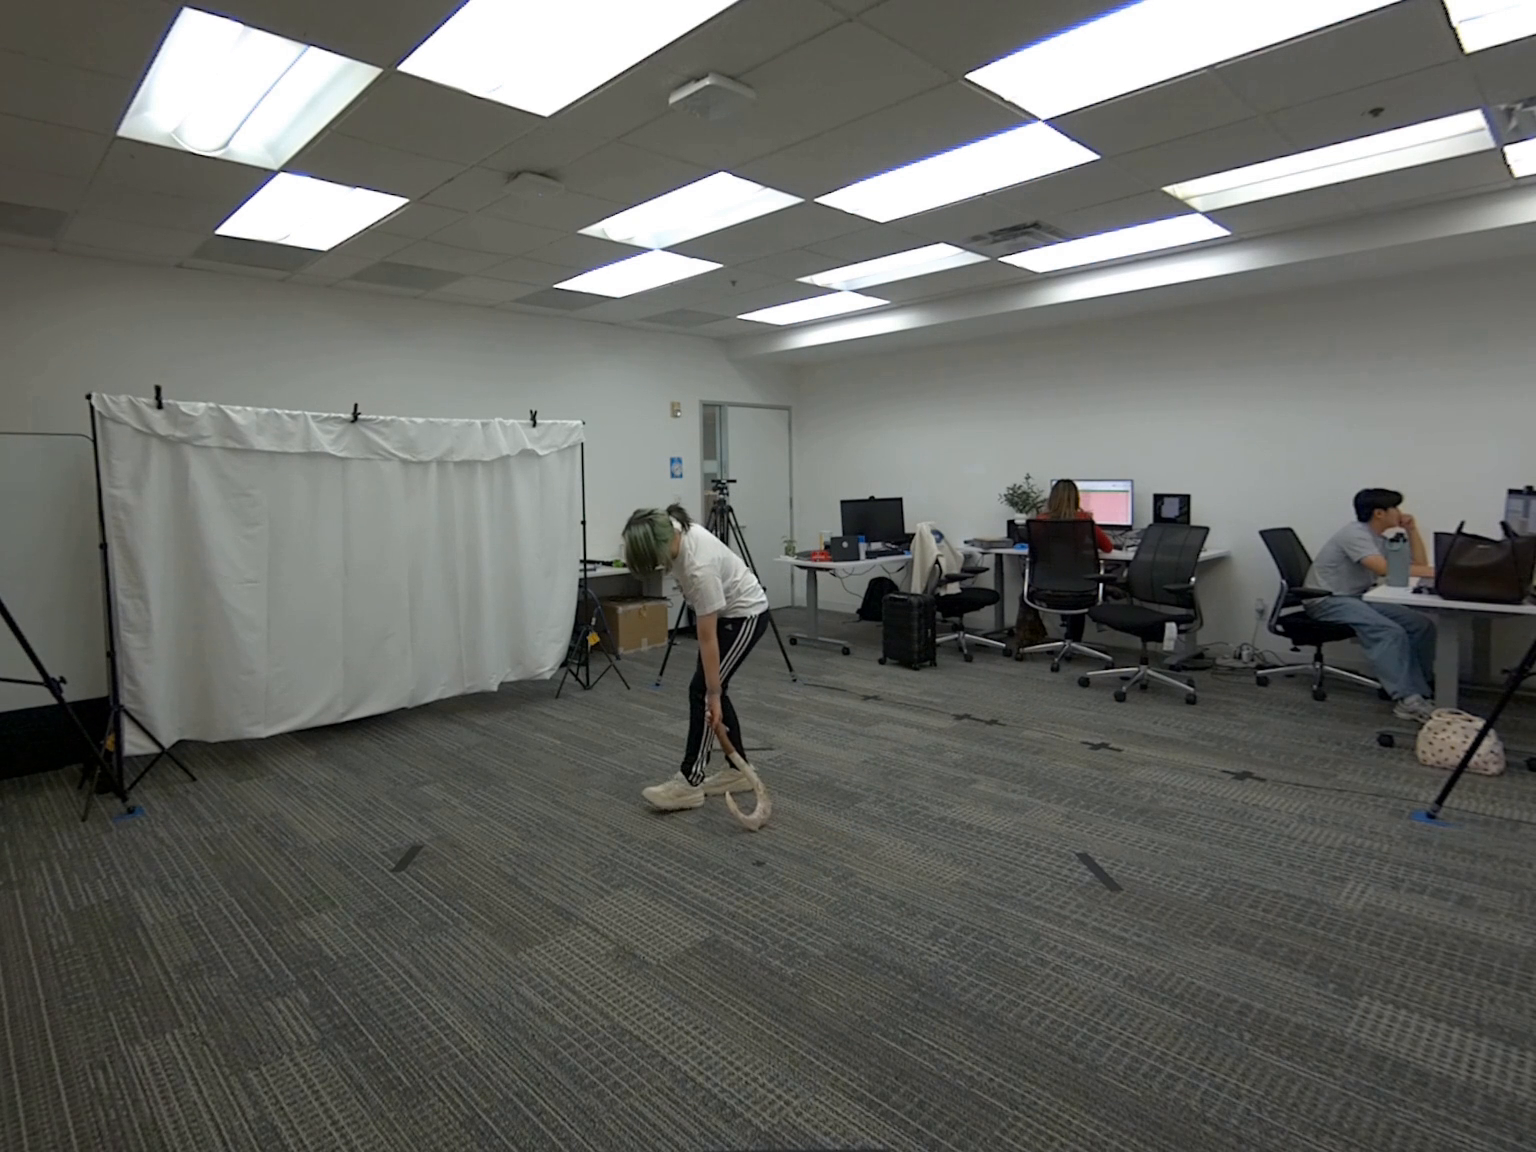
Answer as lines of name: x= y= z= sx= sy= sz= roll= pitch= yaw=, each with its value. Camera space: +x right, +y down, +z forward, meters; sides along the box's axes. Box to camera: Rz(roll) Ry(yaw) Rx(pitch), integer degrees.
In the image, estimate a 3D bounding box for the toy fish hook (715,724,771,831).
toy fish hook: x=-0.146 y=0.781 z=3.454 sx=0.049 sy=0.510 sz=0.221 roll=-35 pitch=-6 yaw=33
